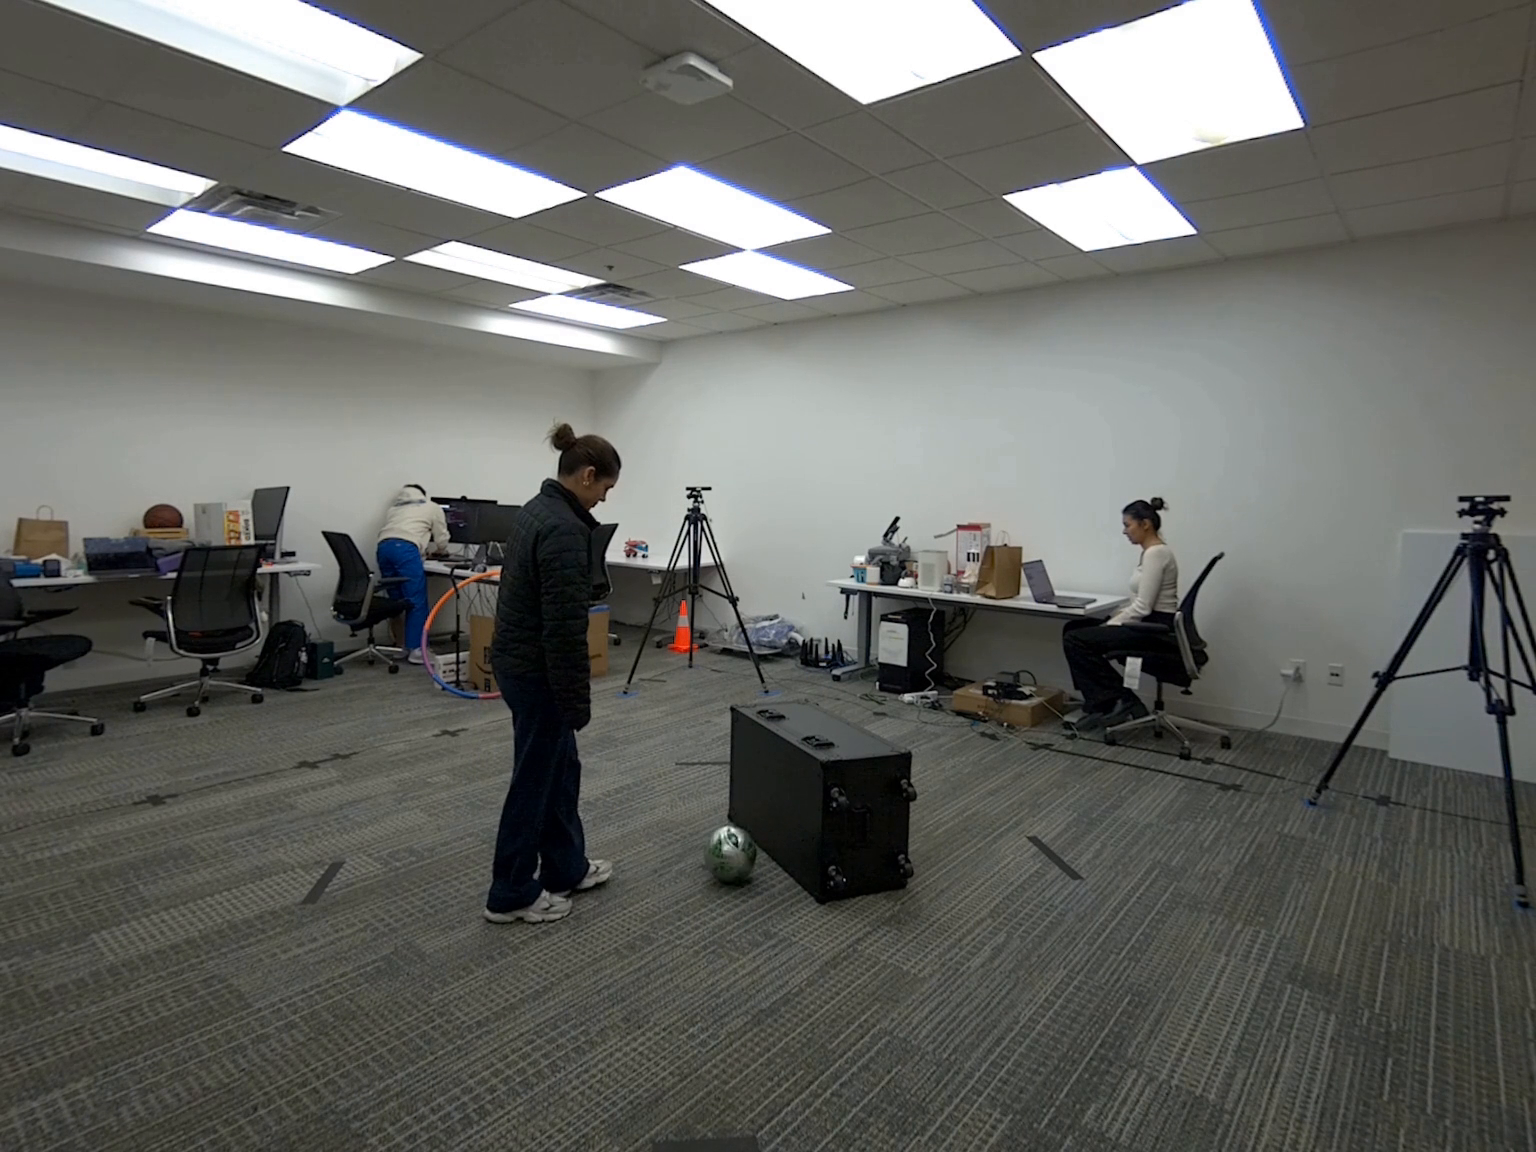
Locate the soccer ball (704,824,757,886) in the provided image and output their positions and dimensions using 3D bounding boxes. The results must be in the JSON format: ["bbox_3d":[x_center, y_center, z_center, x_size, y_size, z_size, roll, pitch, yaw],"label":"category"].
[{"bbox_3d":[-0.139,0.988,3.018,0.187,0.187,0.188,1,4,-2],"label":"soccer ball"}]
